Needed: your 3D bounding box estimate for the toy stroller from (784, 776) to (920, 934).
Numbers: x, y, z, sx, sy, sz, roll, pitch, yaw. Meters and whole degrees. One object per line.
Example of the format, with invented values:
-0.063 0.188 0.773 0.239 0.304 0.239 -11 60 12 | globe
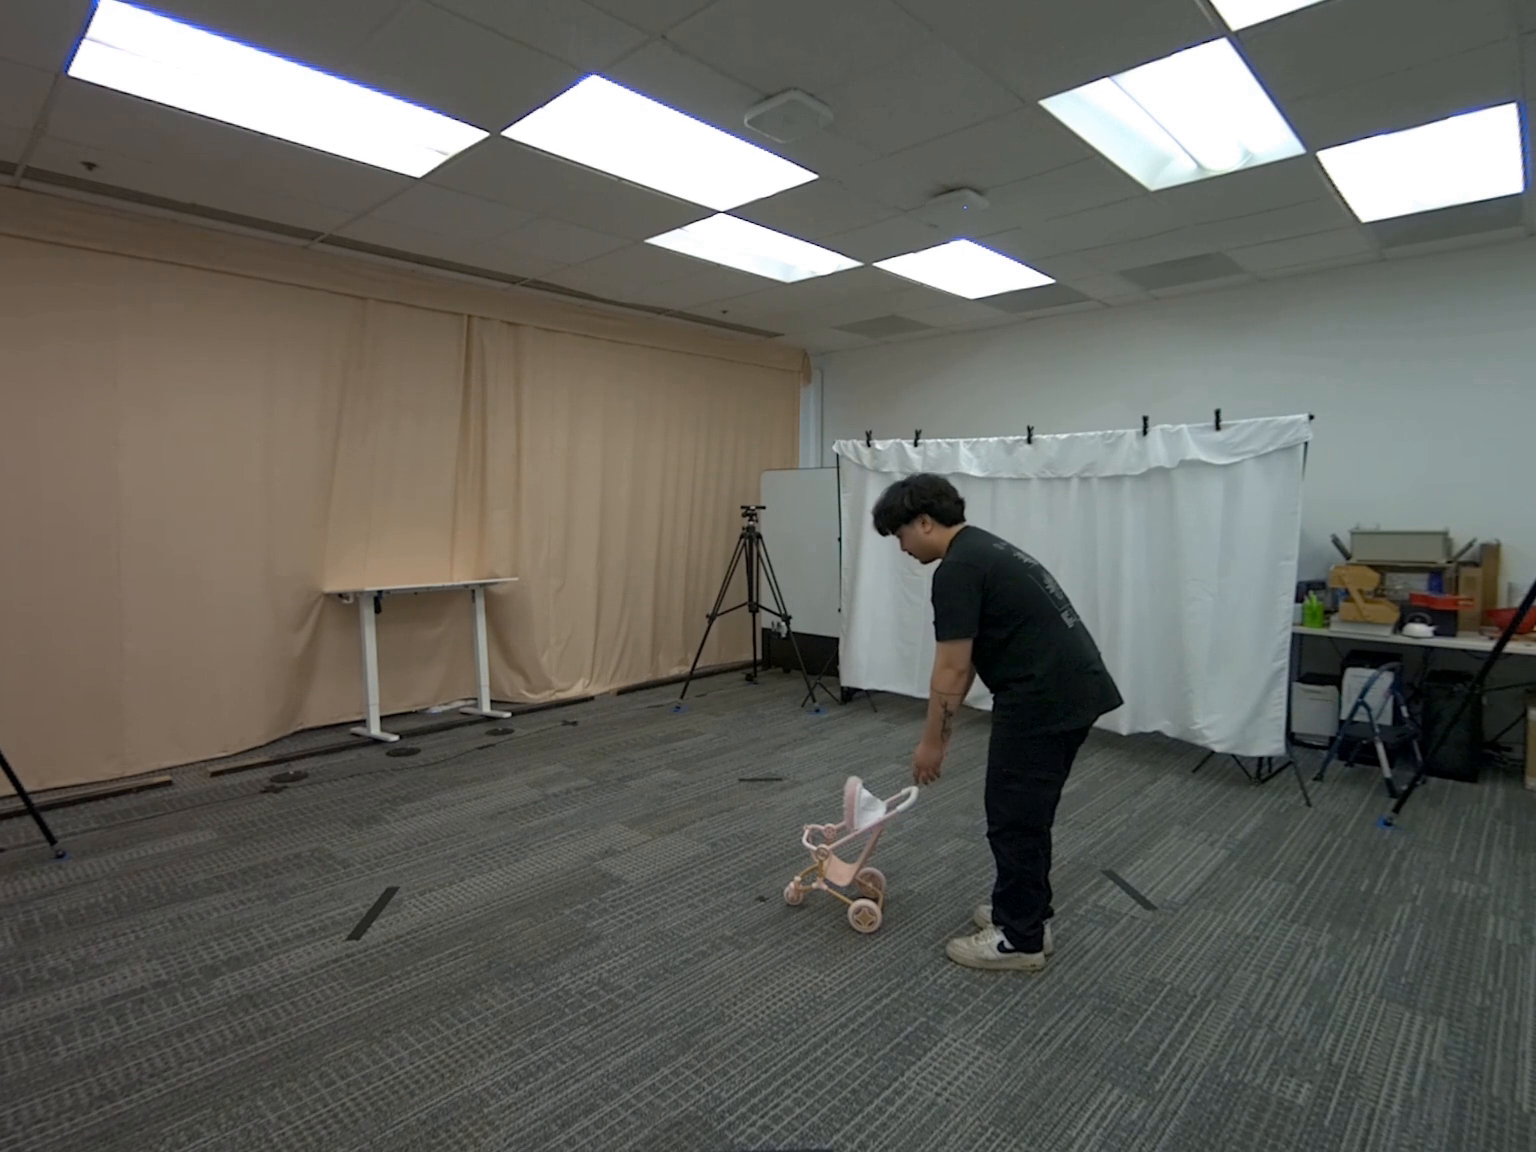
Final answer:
0.282 0.927 2.878 0.349 0.533 0.276 17 8 18 | toy stroller
